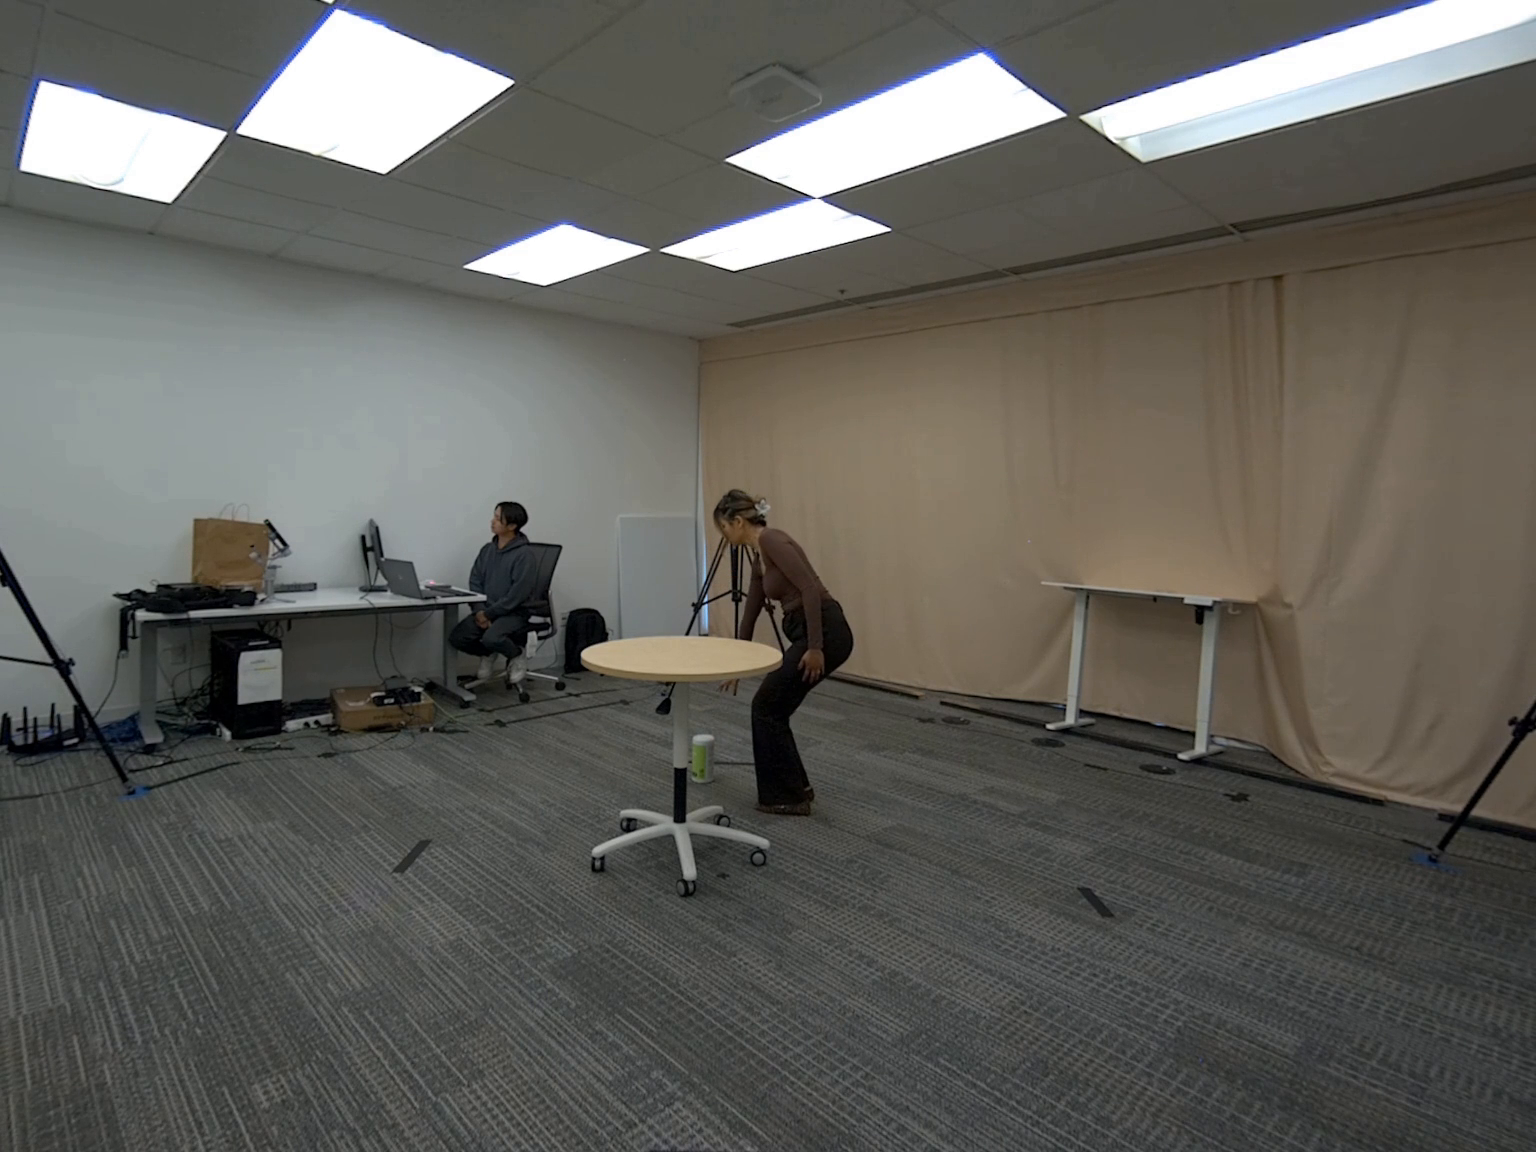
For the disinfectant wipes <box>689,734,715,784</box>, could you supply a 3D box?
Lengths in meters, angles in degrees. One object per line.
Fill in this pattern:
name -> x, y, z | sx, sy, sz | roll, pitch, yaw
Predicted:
disinfectant wipes -> -0.334, 0.903, 4.173 | 0.118, 0.217, 0.118 | 1, 3, -1
